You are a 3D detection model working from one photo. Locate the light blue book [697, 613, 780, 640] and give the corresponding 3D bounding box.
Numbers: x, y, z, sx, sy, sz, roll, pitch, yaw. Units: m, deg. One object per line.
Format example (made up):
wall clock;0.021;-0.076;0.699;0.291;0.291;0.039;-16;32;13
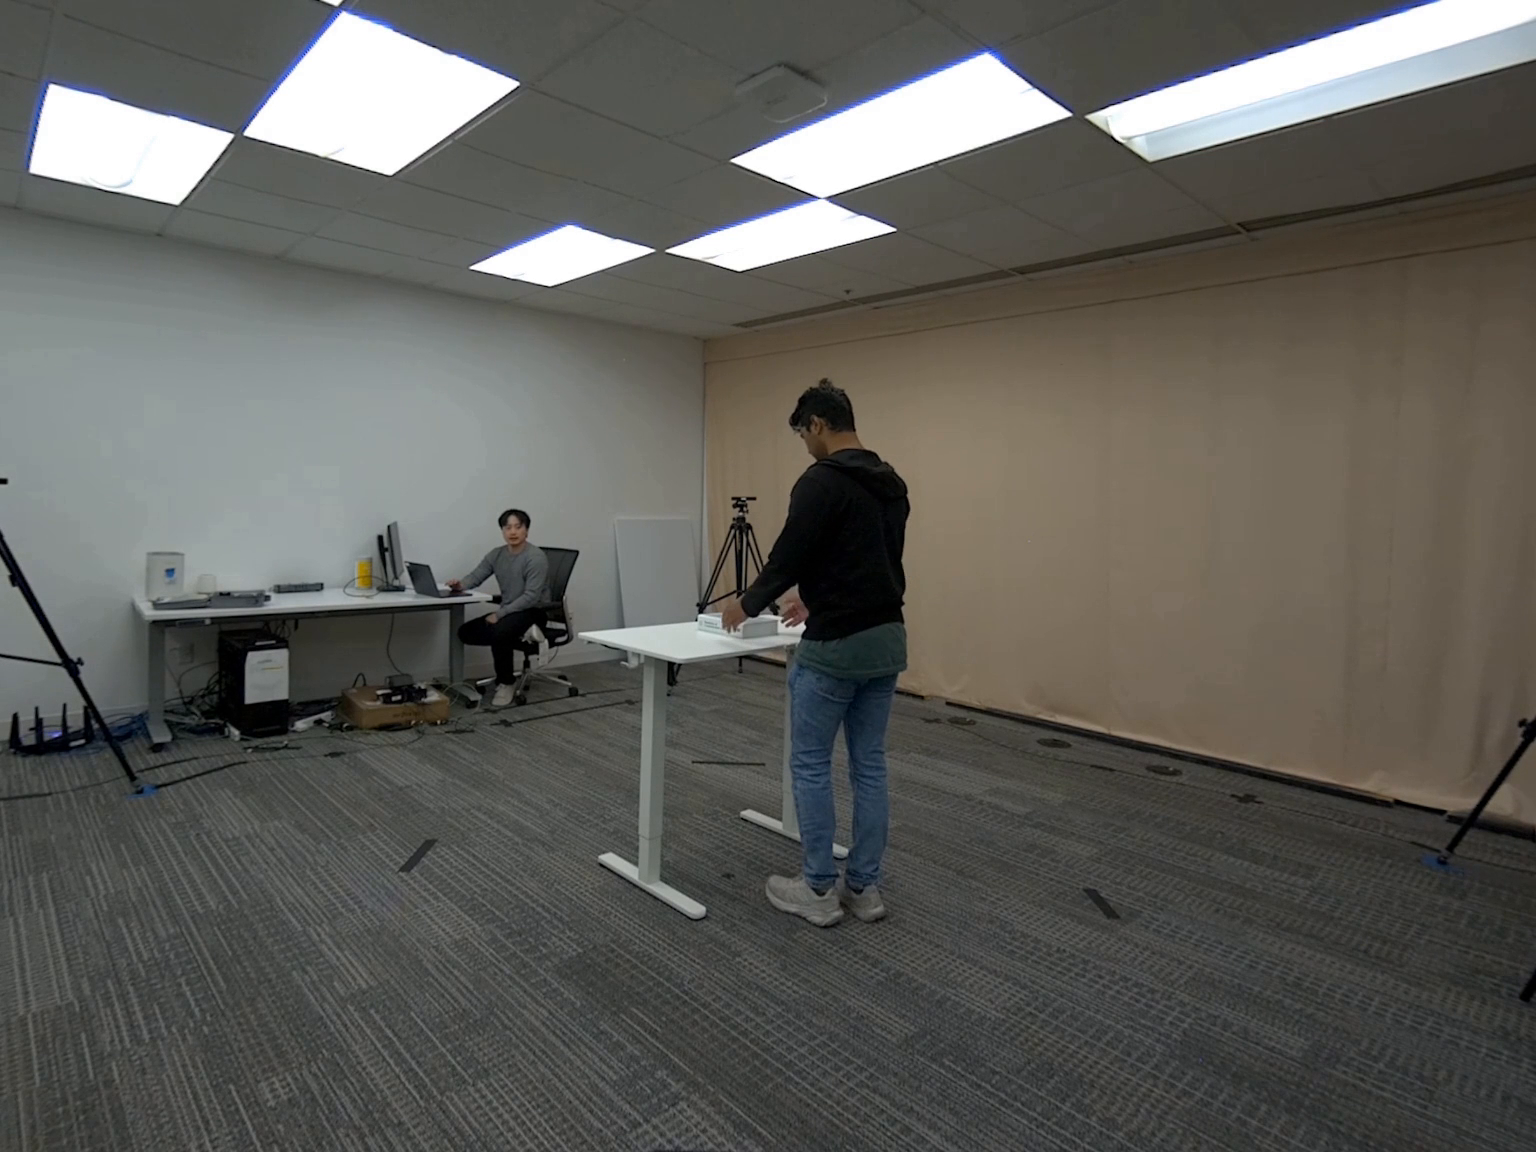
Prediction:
light blue book;-0.124;0.189;3.219;0.187;0.059;0.268;-3;7;-42
